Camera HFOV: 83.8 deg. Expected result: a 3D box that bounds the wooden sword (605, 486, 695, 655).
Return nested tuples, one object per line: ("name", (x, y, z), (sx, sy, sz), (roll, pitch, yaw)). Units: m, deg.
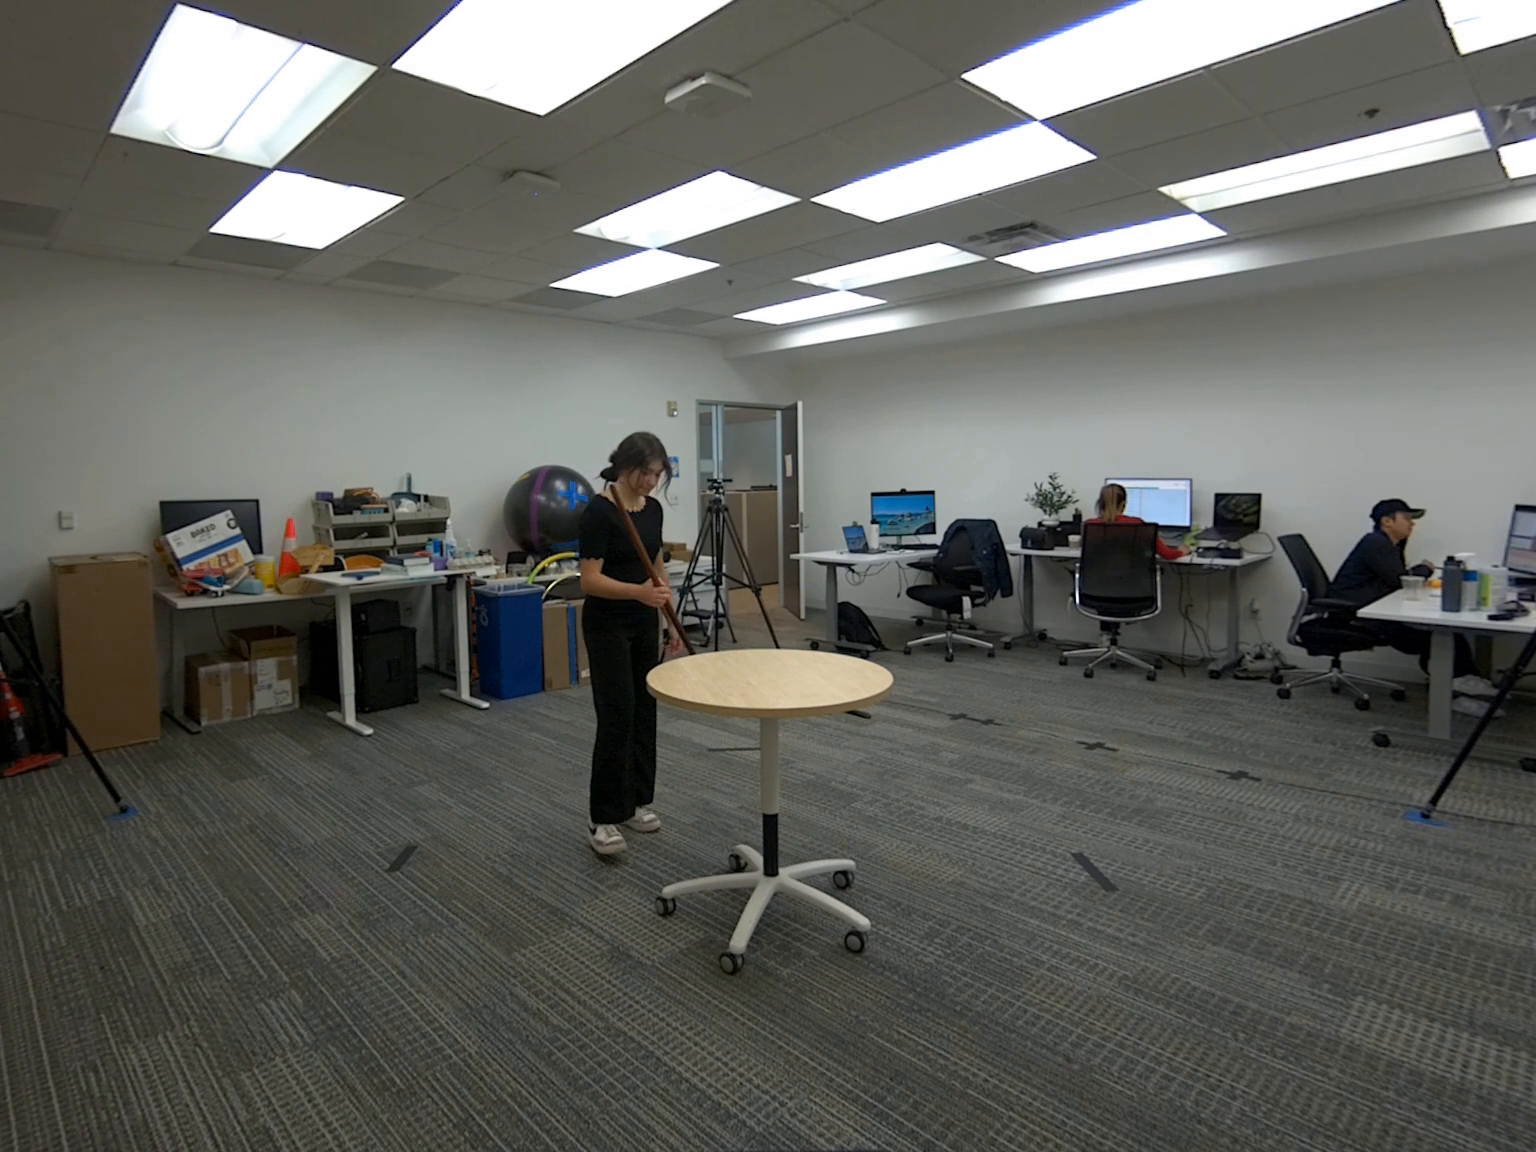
("wooden sword", (-0.398, 0.038, 3.066), (0.025, 0.990, 0.051), (32, 64, 32))
